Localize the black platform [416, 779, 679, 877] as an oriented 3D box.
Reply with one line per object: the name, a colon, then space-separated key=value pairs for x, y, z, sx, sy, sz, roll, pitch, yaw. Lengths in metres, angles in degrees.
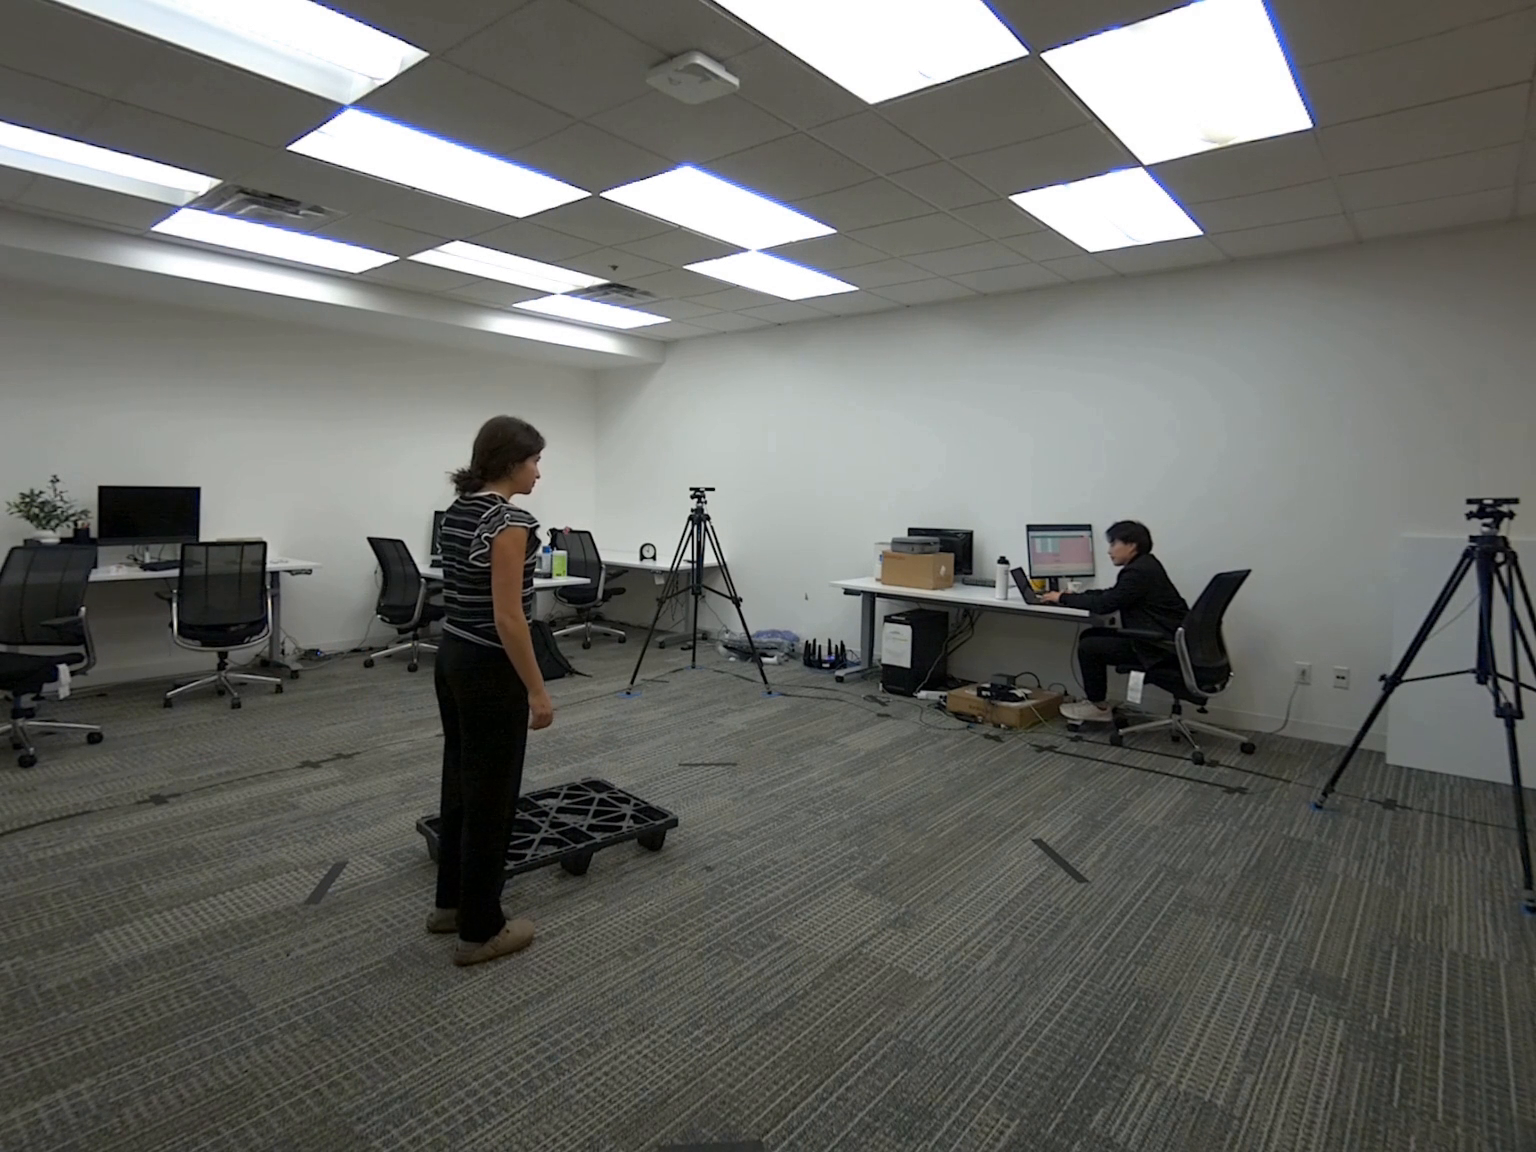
black platform: x=-0.845 y=0.979 z=3.217 sx=0.781 sy=0.143 sz=0.625 roll=-4 pitch=6 yaw=-42
